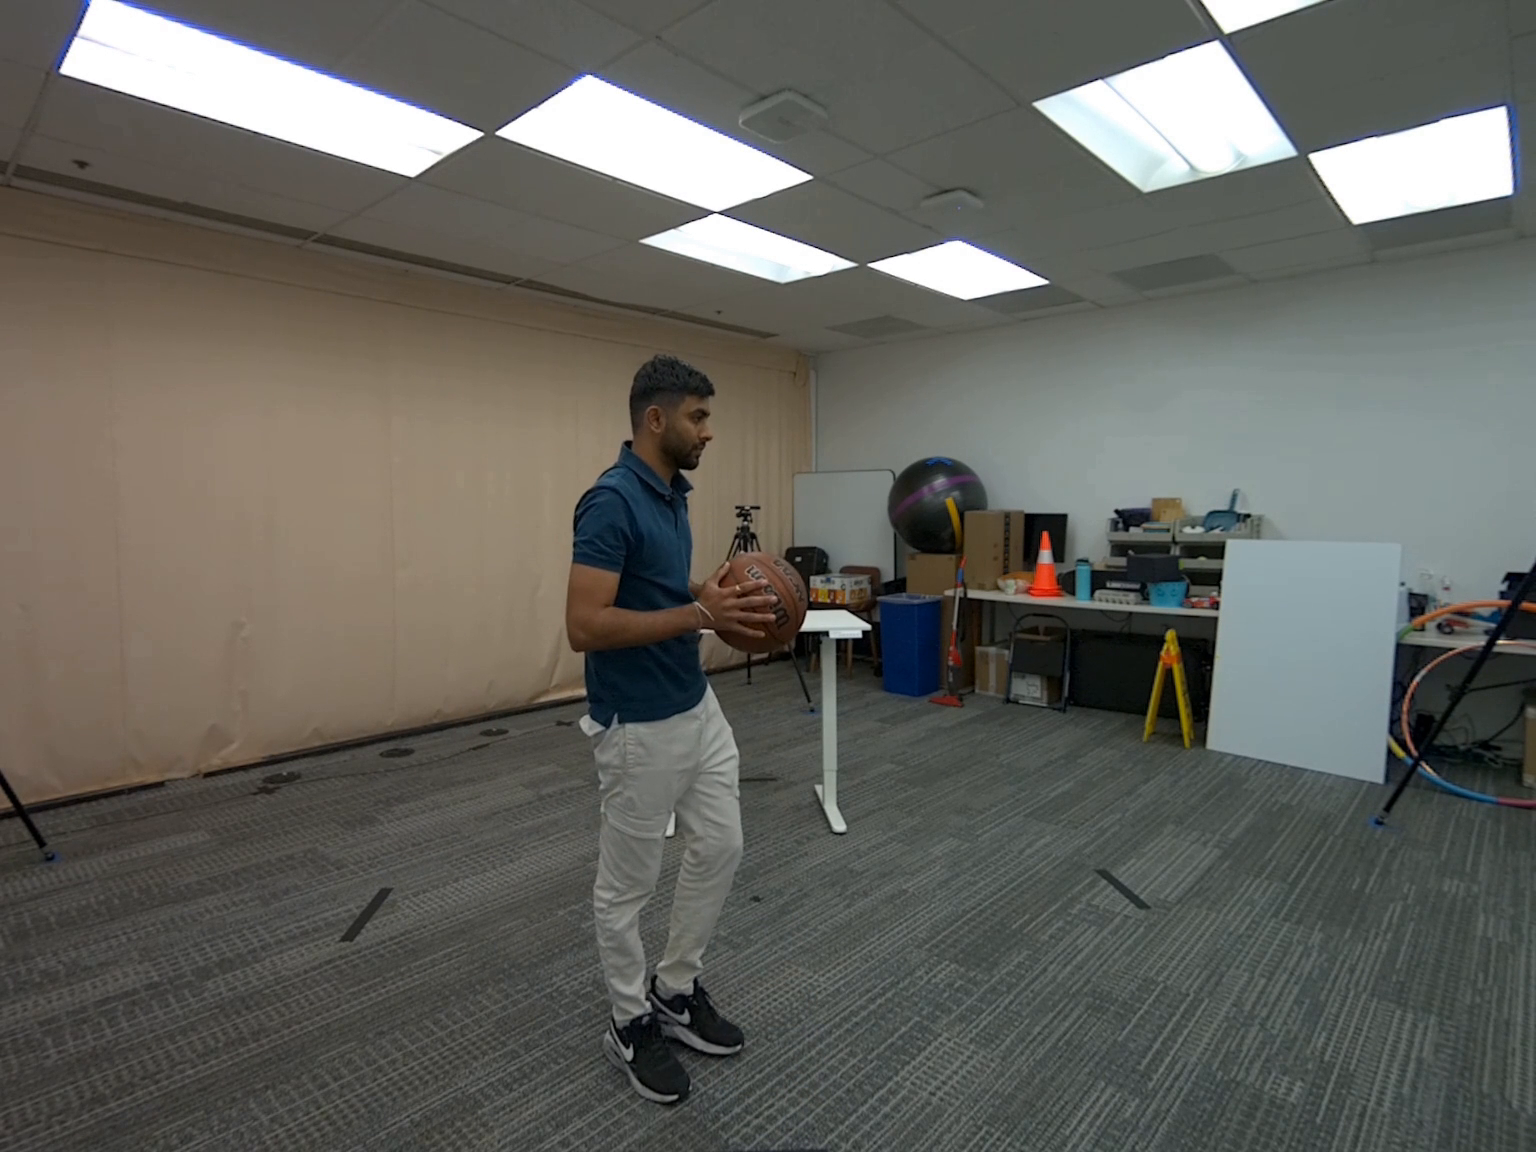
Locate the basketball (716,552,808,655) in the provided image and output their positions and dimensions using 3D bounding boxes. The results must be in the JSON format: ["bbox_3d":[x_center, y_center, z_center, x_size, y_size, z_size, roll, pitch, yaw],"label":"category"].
[{"bbox_3d":[-0.017,0.061,1.959,0.236,0.235,0.237,0,4,-2],"label":"basketball"}]
